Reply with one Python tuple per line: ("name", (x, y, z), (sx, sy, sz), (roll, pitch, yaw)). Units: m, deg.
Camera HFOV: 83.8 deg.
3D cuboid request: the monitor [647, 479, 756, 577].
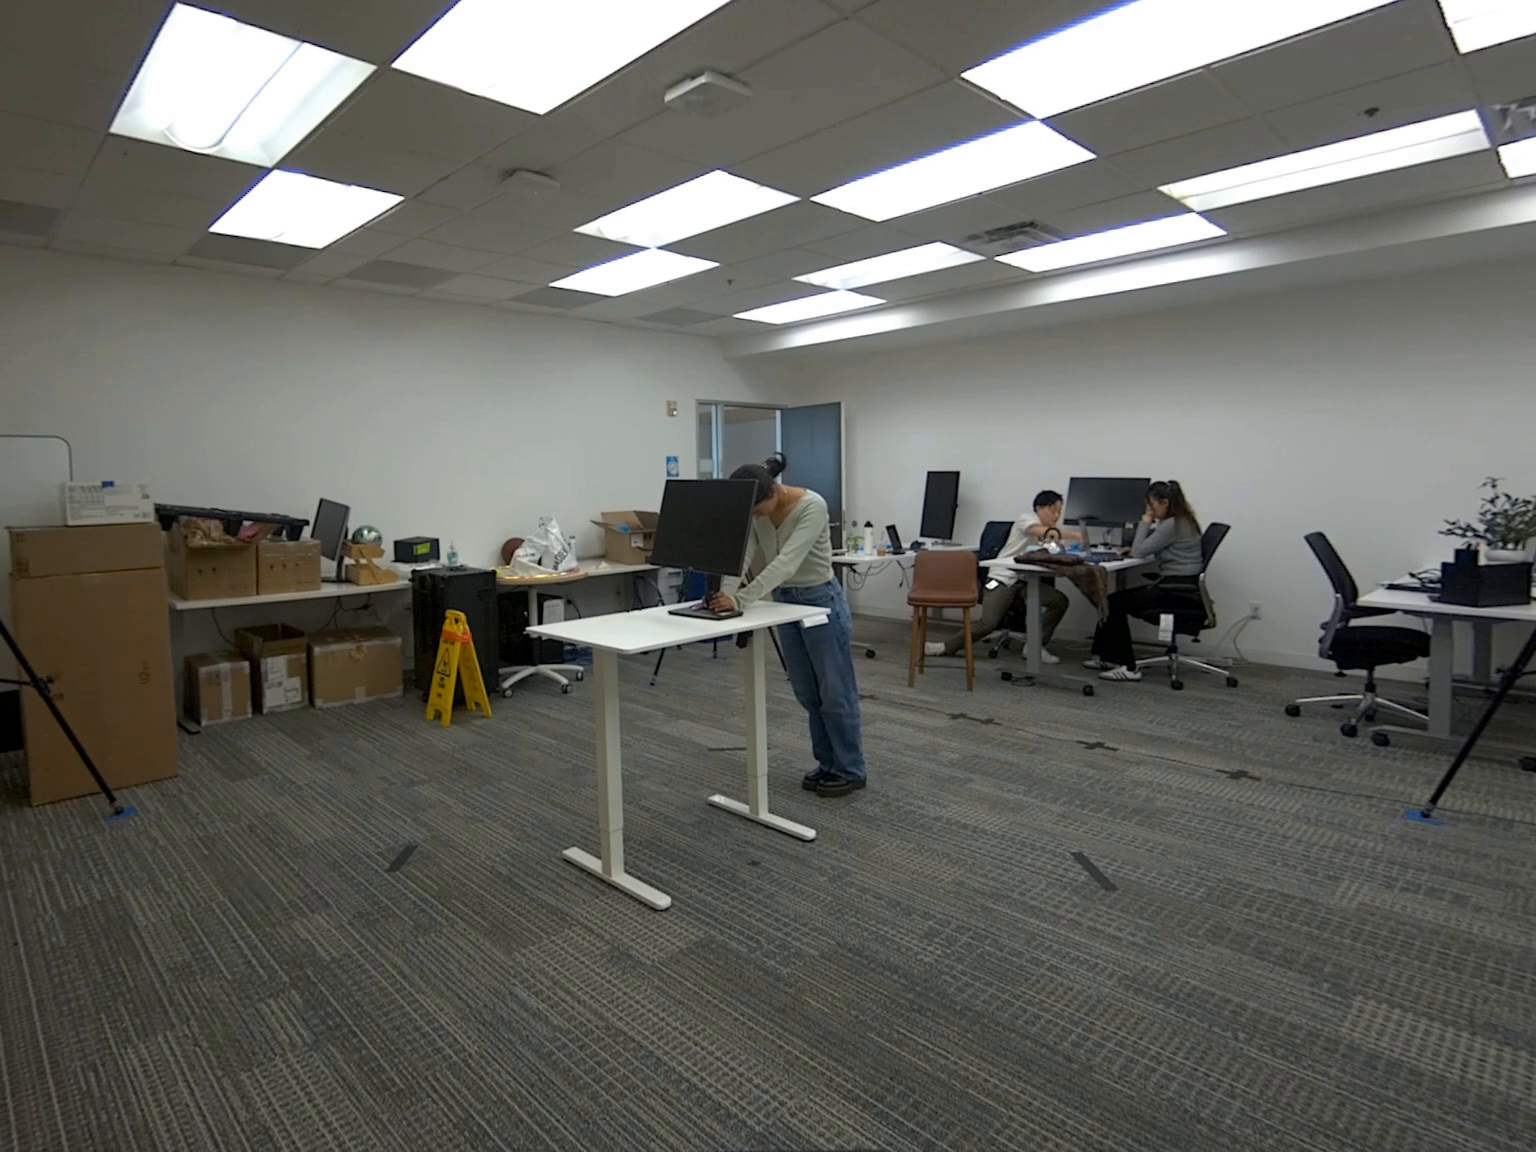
("monitor", (-0.228, -0.106, 3.254), (0.182, 0.520, 0.556), (-4, 7, -44))
